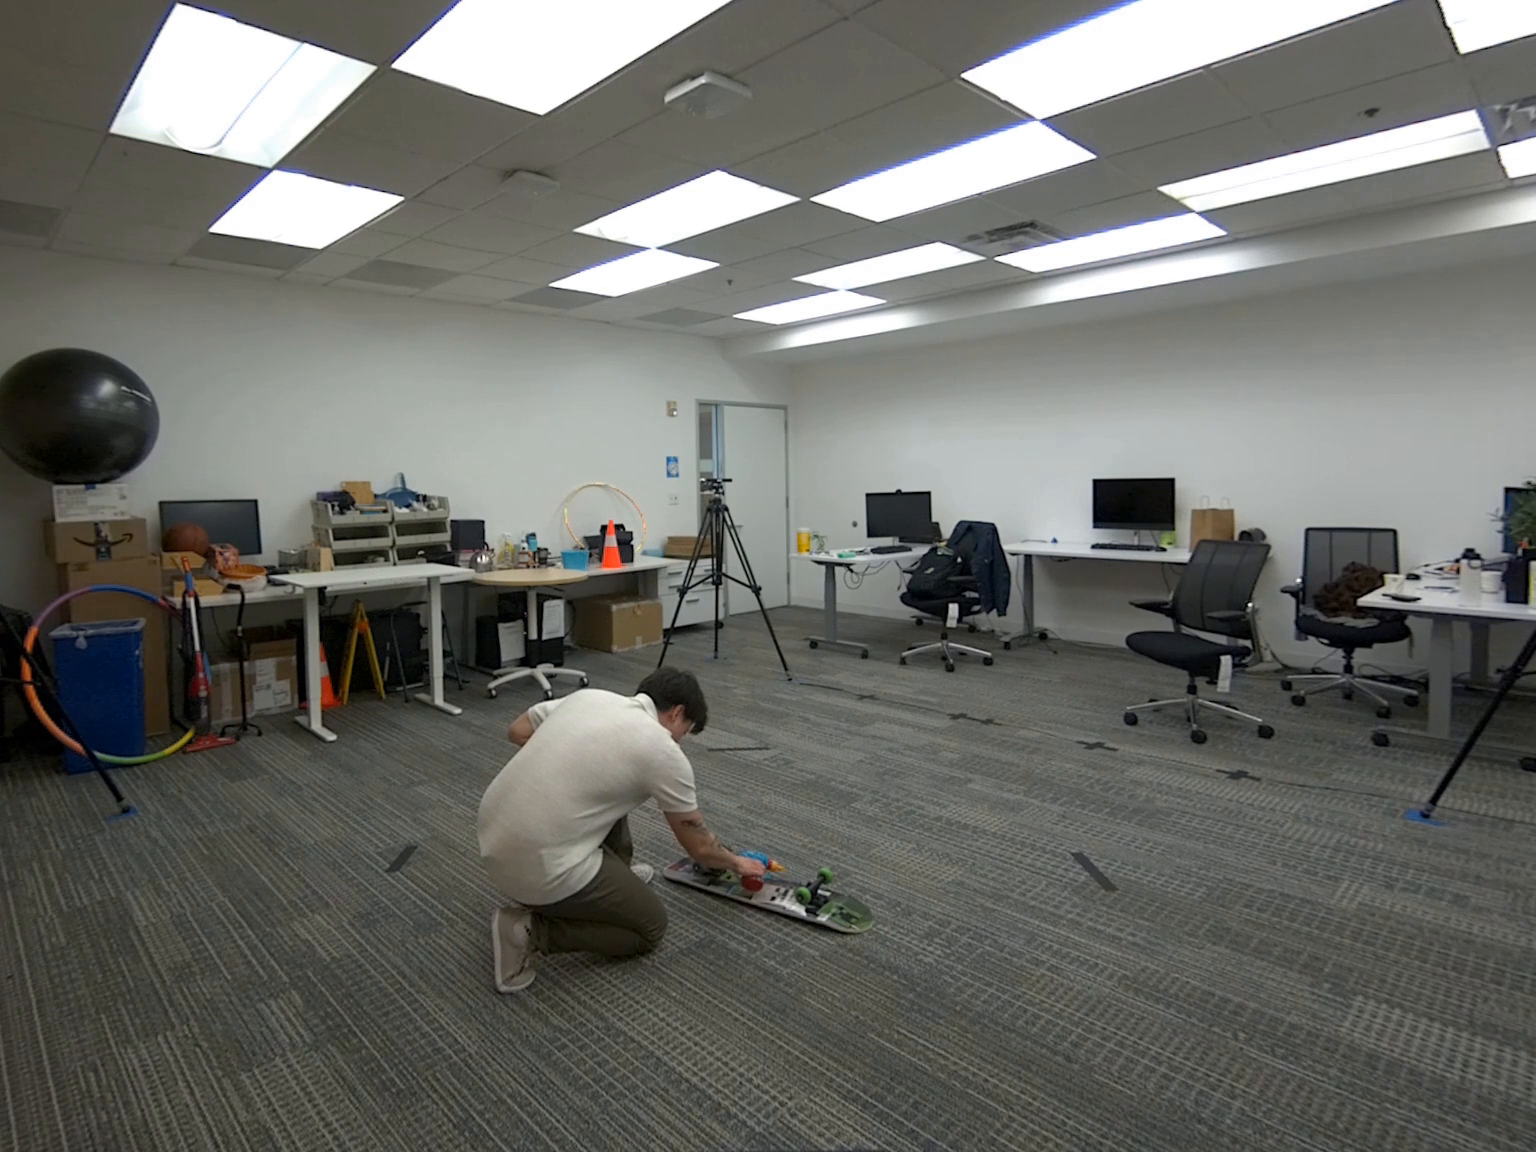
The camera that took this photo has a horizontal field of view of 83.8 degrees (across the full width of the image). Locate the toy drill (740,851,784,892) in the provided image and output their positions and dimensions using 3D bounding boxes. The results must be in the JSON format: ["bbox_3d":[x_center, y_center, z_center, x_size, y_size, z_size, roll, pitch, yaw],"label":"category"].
[{"bbox_3d":[-0.018,0.987,2.852,0.168,0.060,0.148,16,18,-7],"label":"toy drill"}]
